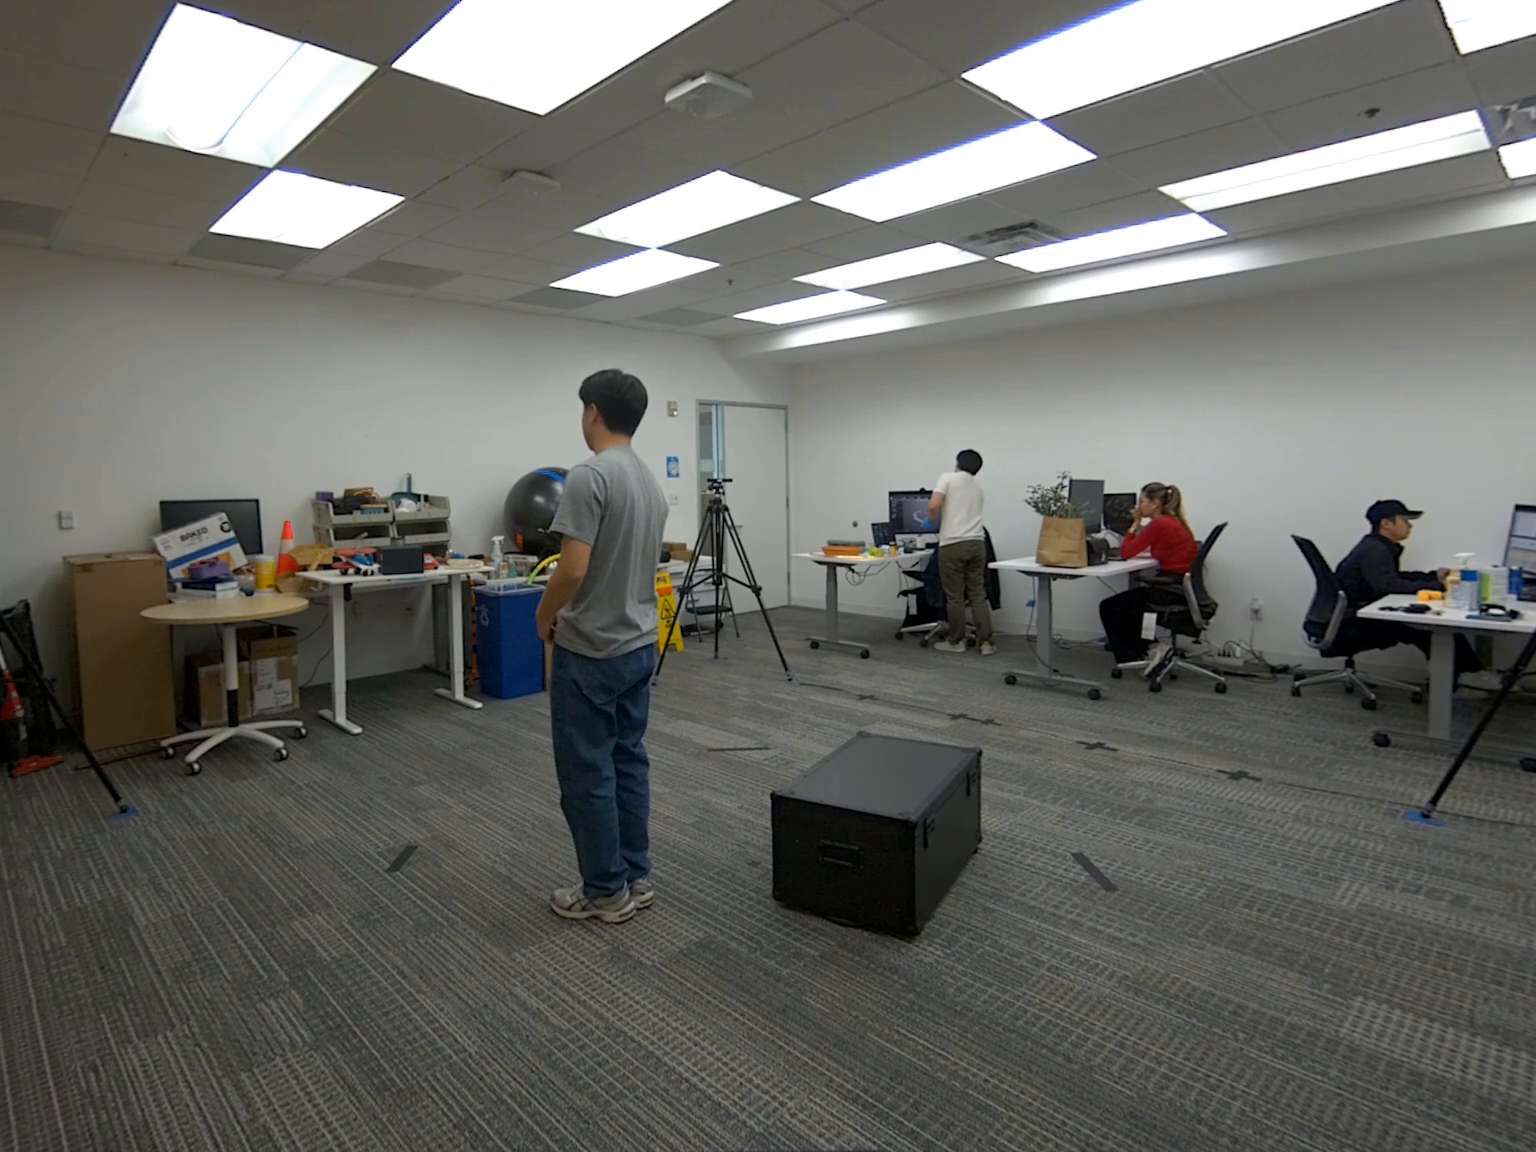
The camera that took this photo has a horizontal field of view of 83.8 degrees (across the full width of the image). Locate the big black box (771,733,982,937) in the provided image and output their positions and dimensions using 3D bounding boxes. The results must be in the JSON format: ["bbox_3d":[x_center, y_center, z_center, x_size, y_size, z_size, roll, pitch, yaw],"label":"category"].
[{"bbox_3d":[0.427,0.857,3.015,0.534,0.394,0.844,1,7,29],"label":"big black box"}]
